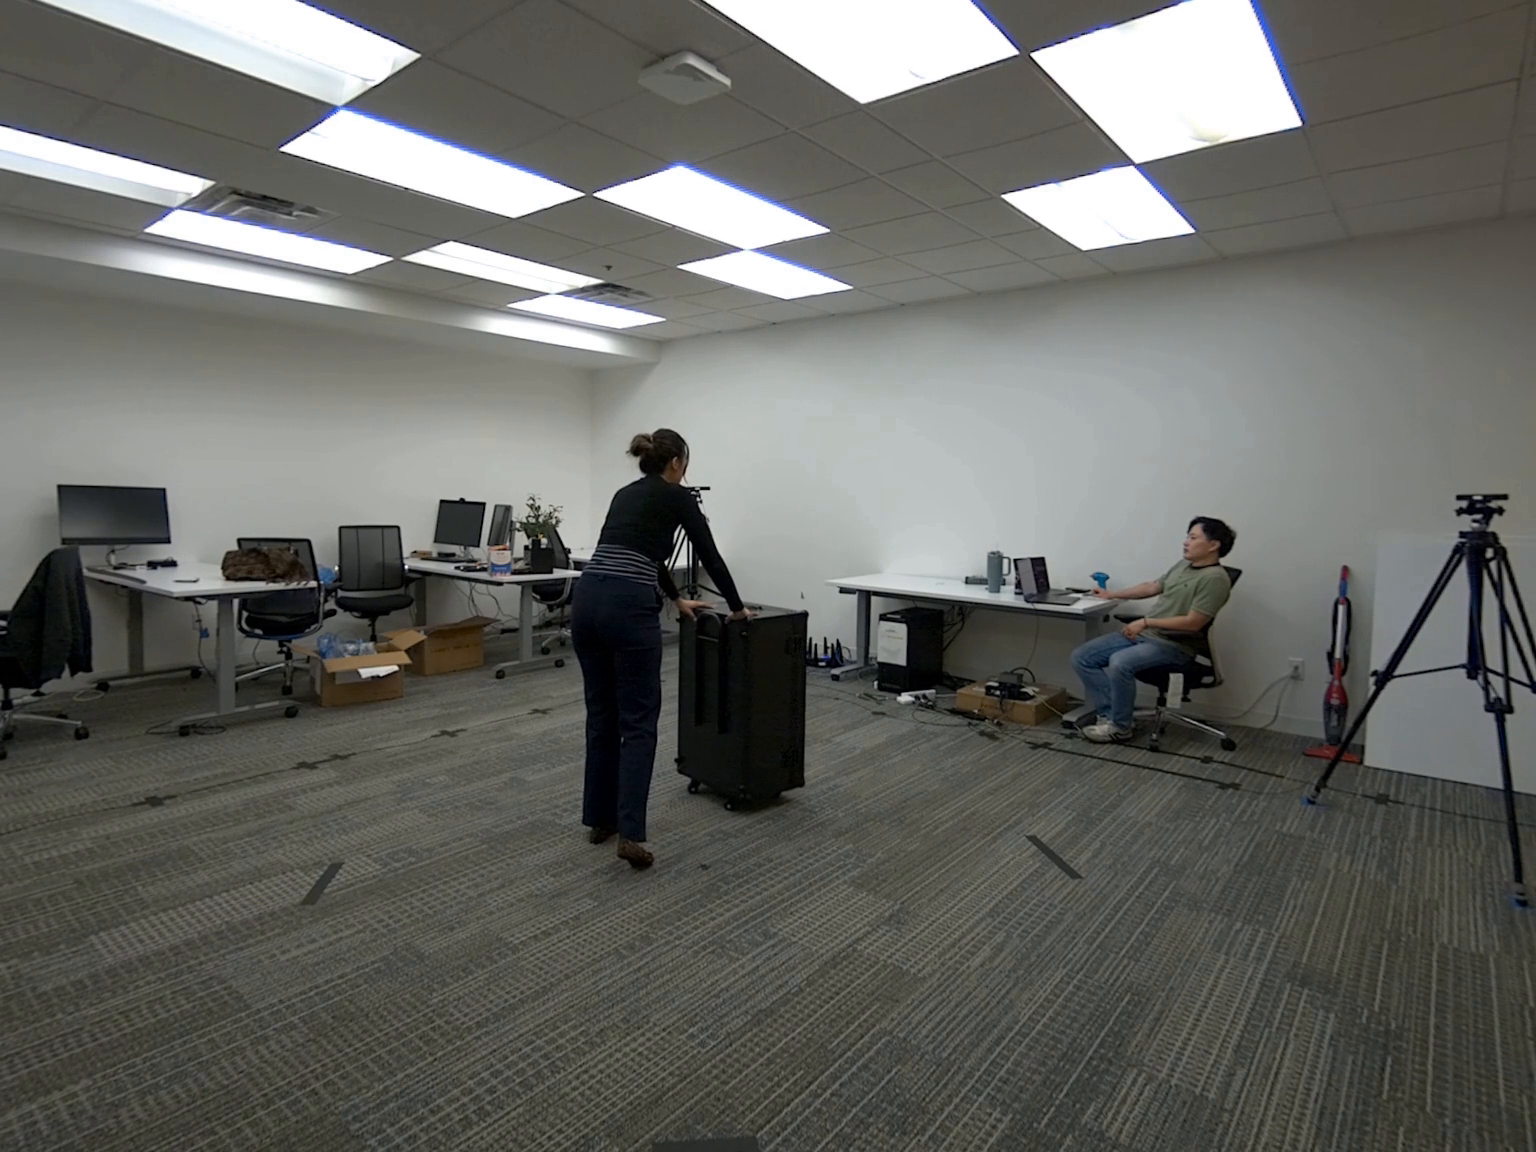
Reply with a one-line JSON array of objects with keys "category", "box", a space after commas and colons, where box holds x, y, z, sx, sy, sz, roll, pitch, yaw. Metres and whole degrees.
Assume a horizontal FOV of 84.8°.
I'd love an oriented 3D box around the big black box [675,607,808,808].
[{"category": "big black box", "box": [-0.137, 0.567, 3.836, 0.384, 0.859, 0.539, -2, 5, -41]}]
